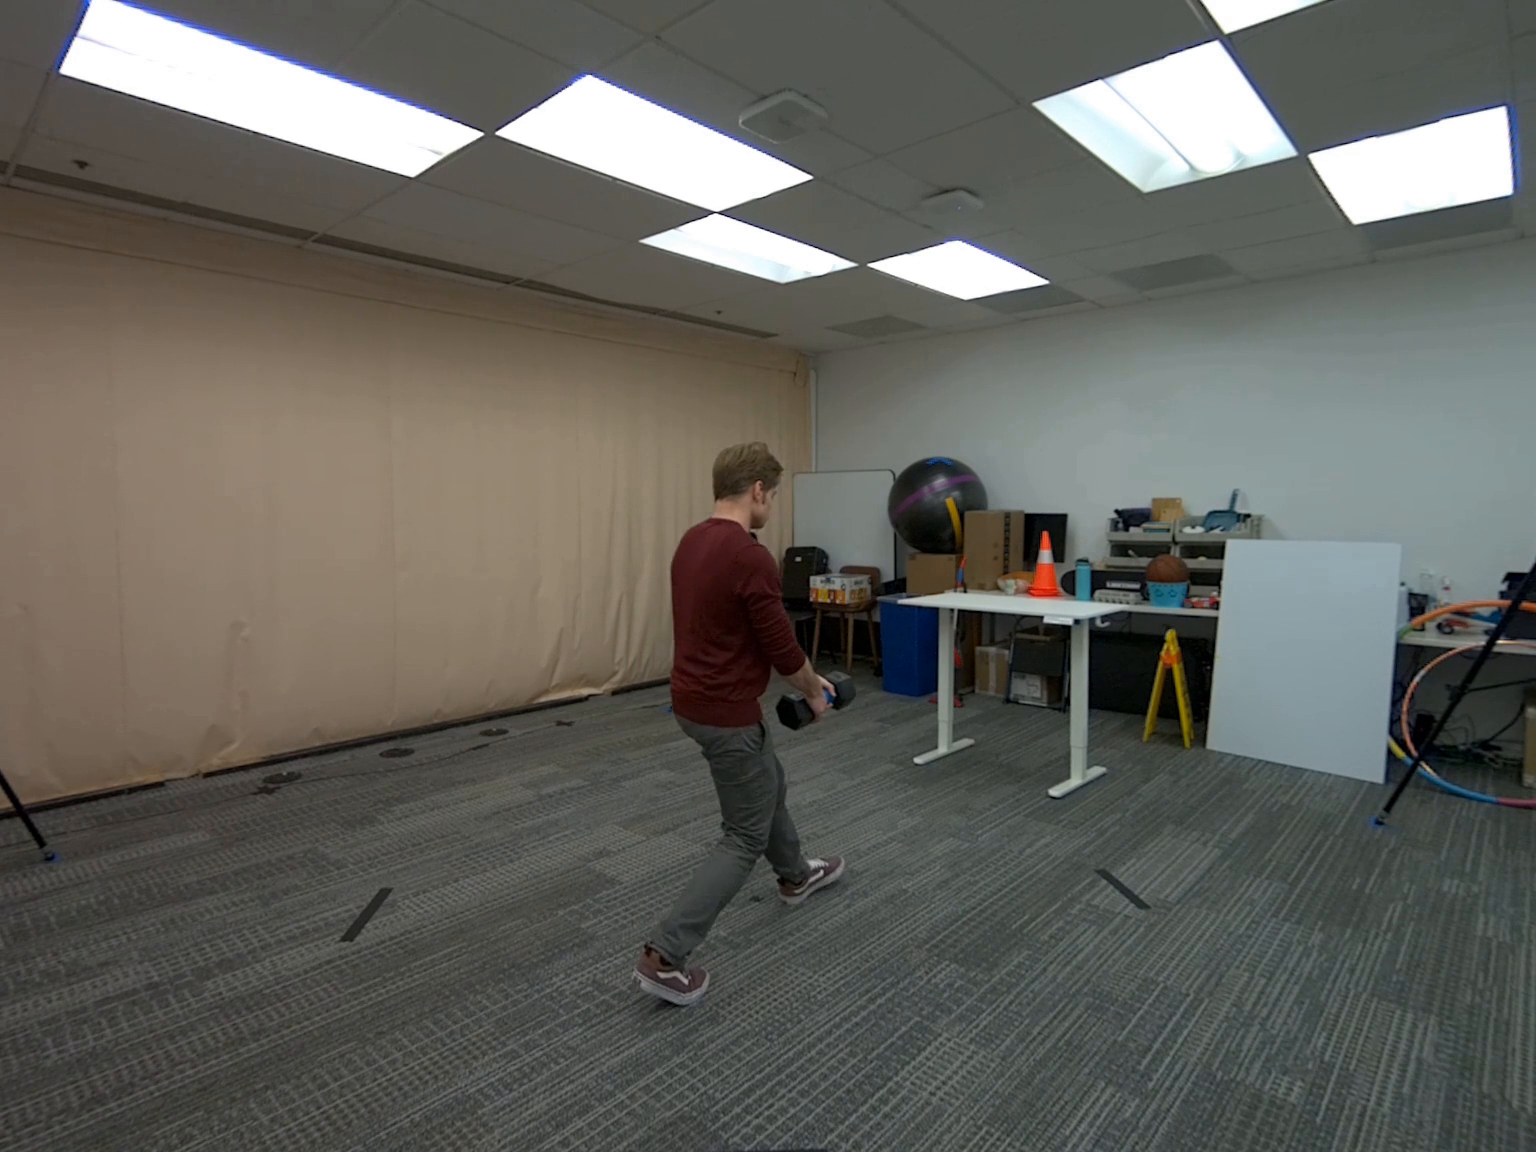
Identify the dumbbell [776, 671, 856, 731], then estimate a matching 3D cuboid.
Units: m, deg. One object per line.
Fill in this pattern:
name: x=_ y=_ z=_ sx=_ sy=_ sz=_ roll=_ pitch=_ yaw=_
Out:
dumbbell: x=0.162 y=0.407 z=2.746 sx=0.286 sy=0.123 sz=0.112 roll=-16 pitch=55 yaw=-41
